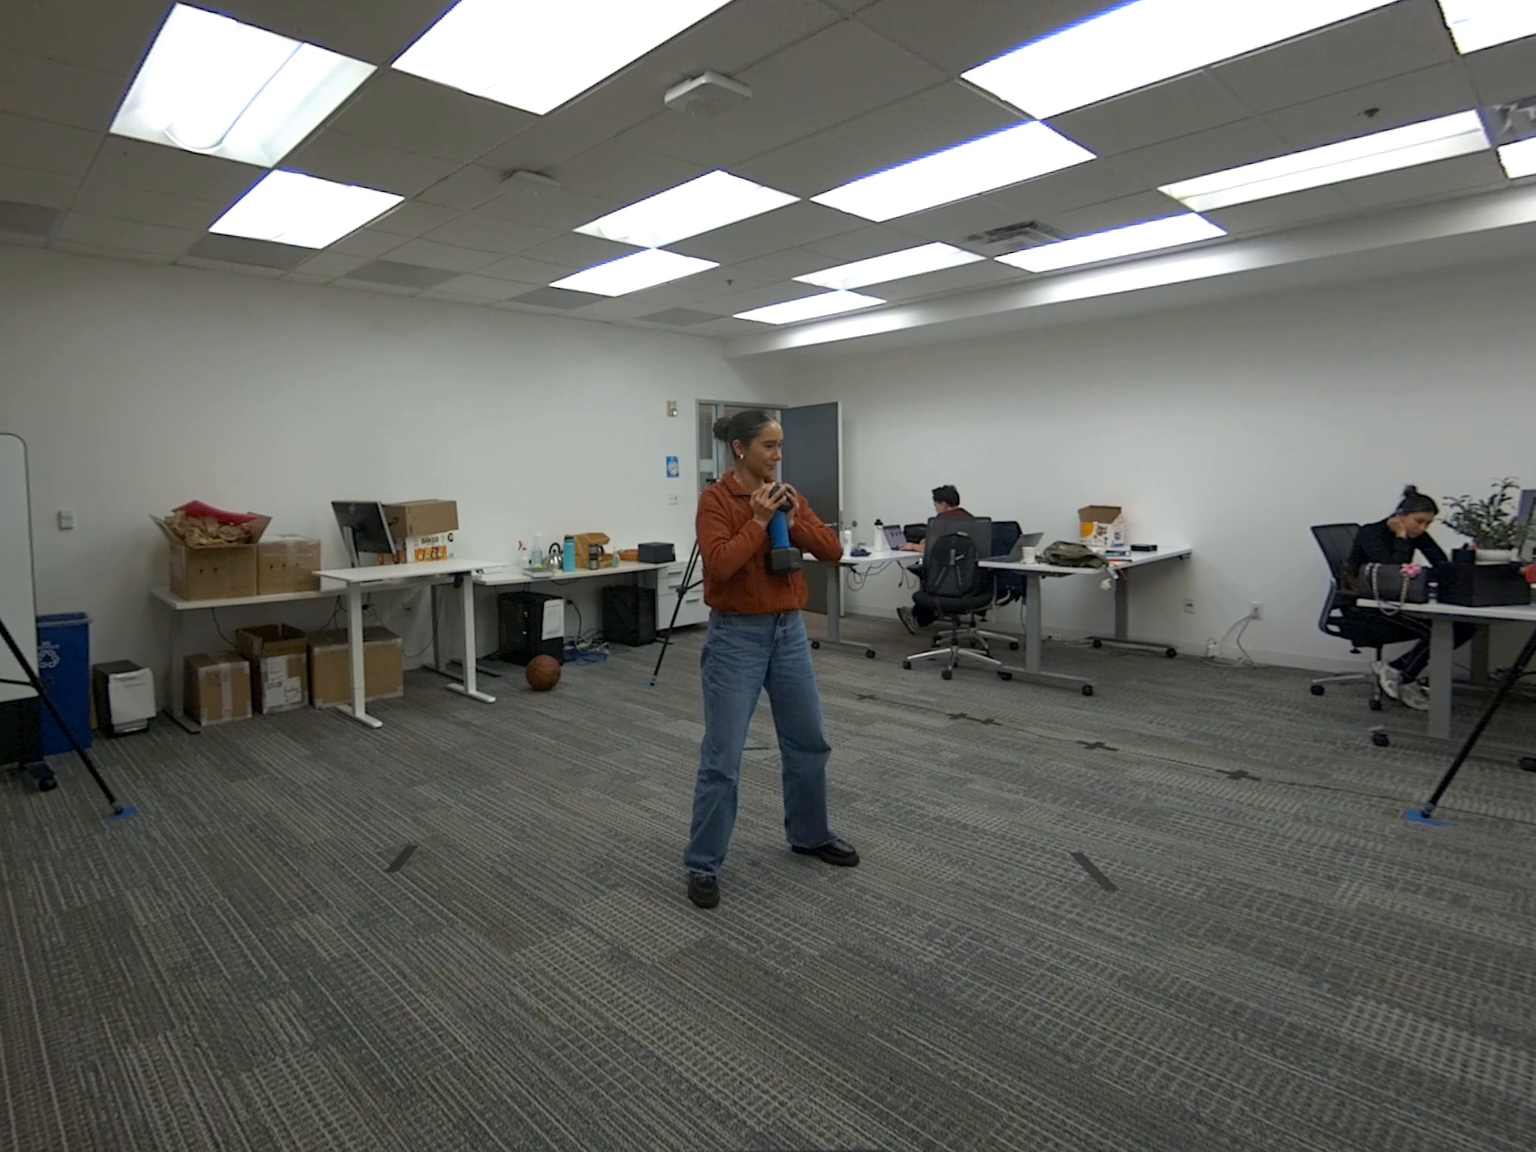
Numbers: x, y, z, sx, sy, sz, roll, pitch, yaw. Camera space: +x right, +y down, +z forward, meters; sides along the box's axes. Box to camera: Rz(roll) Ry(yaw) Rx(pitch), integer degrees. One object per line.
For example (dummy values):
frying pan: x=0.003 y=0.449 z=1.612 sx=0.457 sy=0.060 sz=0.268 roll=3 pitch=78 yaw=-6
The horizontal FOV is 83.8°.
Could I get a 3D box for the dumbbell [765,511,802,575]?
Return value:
dumbbell: x=0.026 y=-0.146 z=2.889 sx=0.111 sy=0.296 sz=0.119 roll=-15 pitch=-10 yaw=32
